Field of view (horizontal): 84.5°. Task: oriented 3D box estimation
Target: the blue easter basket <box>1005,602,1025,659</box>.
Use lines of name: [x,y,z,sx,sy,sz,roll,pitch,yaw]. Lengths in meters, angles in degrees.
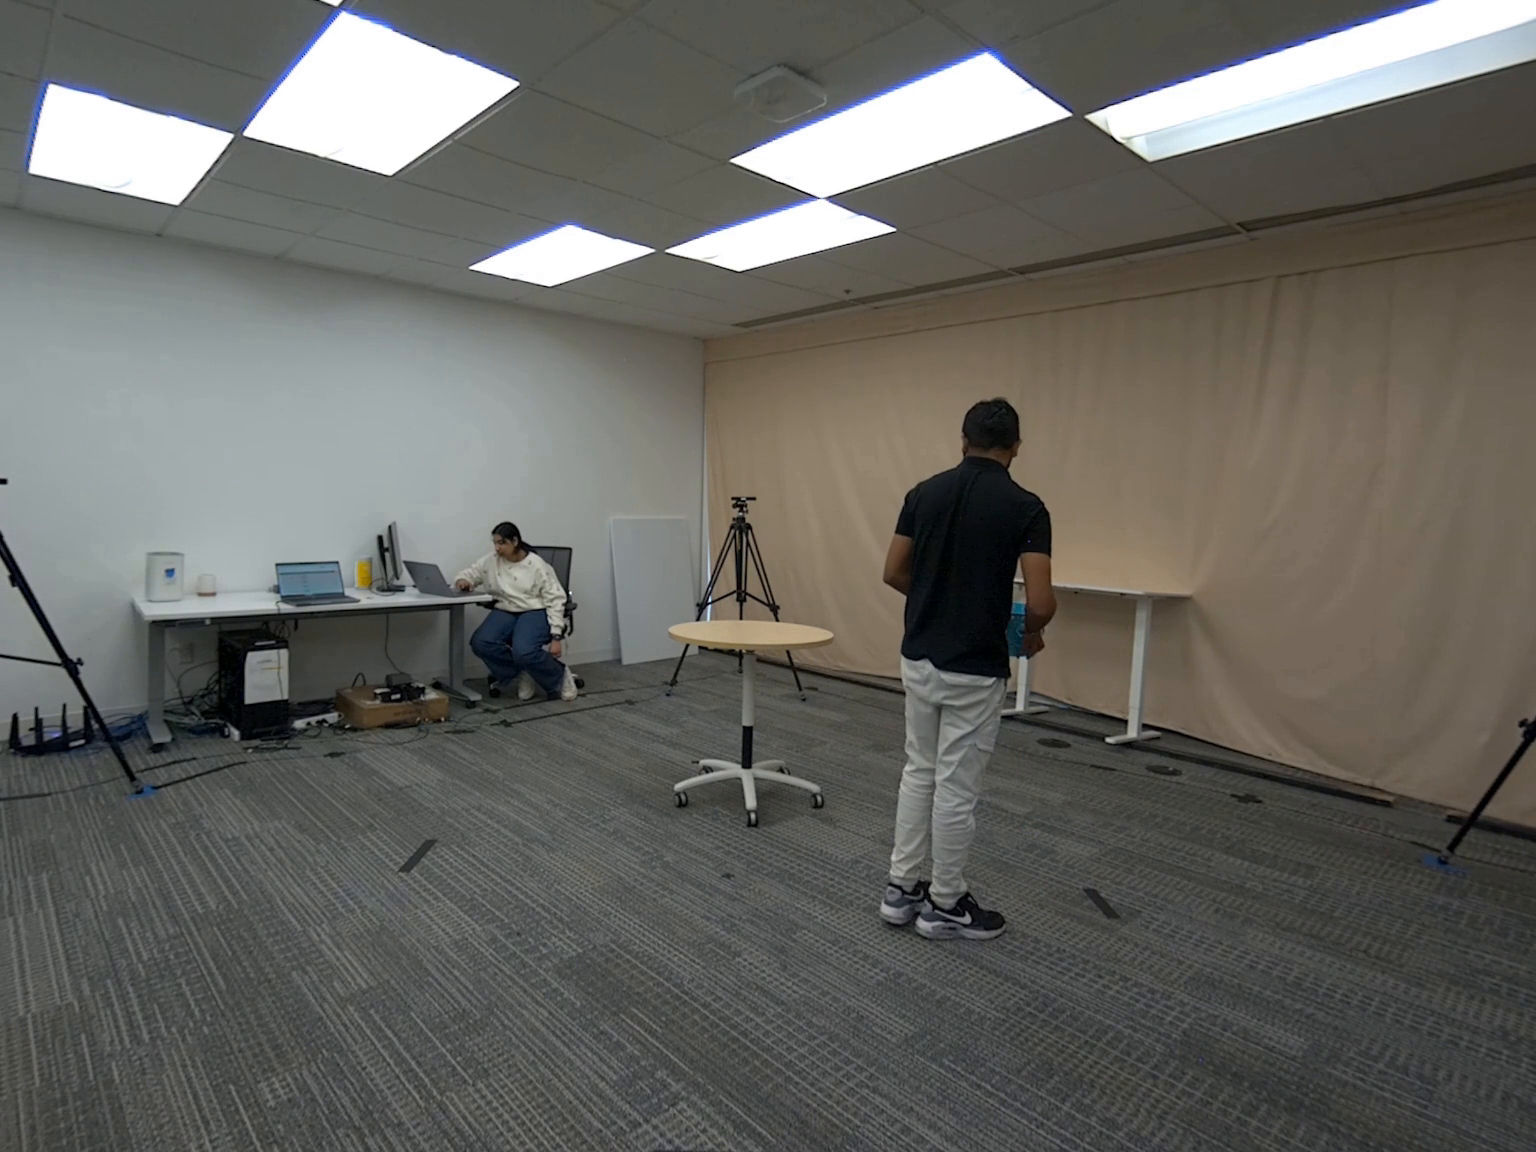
blue easter basket: [0.816,0.184,2.871,0.243,0.155,0.245,1,7,-1]
